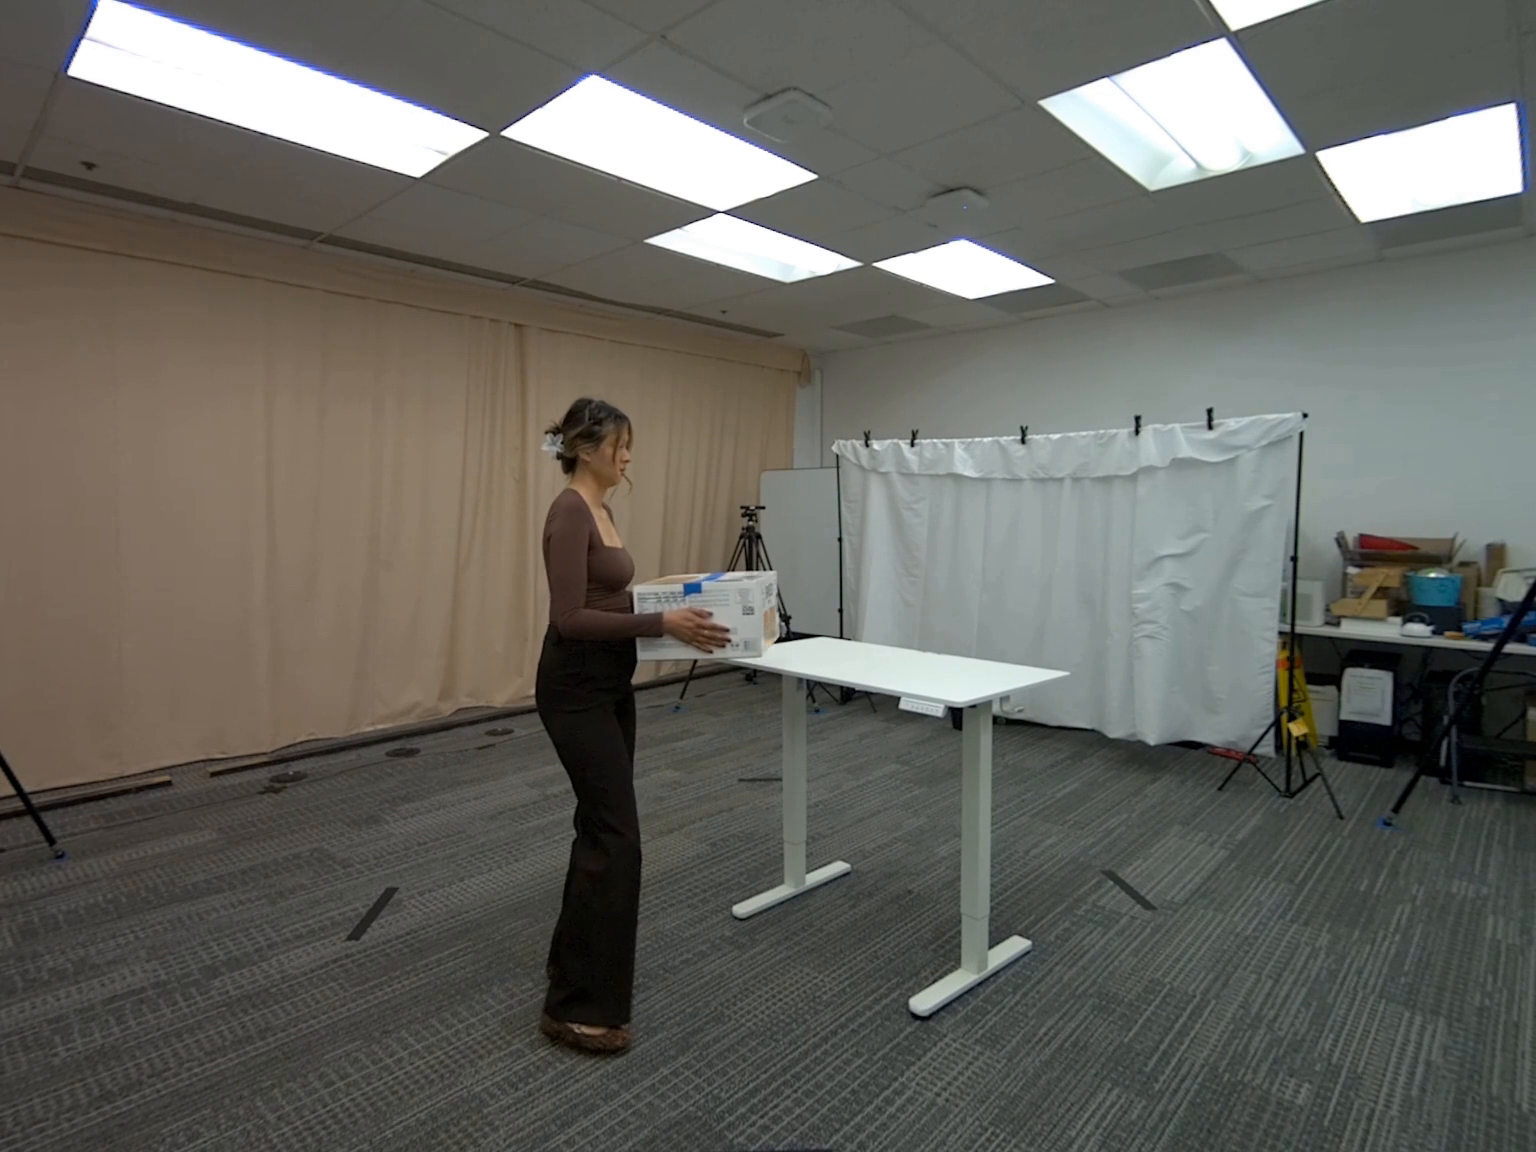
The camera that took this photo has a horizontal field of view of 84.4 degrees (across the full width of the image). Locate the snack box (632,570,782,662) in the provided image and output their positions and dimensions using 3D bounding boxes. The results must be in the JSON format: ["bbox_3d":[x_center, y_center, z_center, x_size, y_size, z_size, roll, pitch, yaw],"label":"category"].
[{"bbox_3d":[-0.154,0.110,2.390,0.344,0.205,0.401,-3,3,9],"label":"snack box"}]
